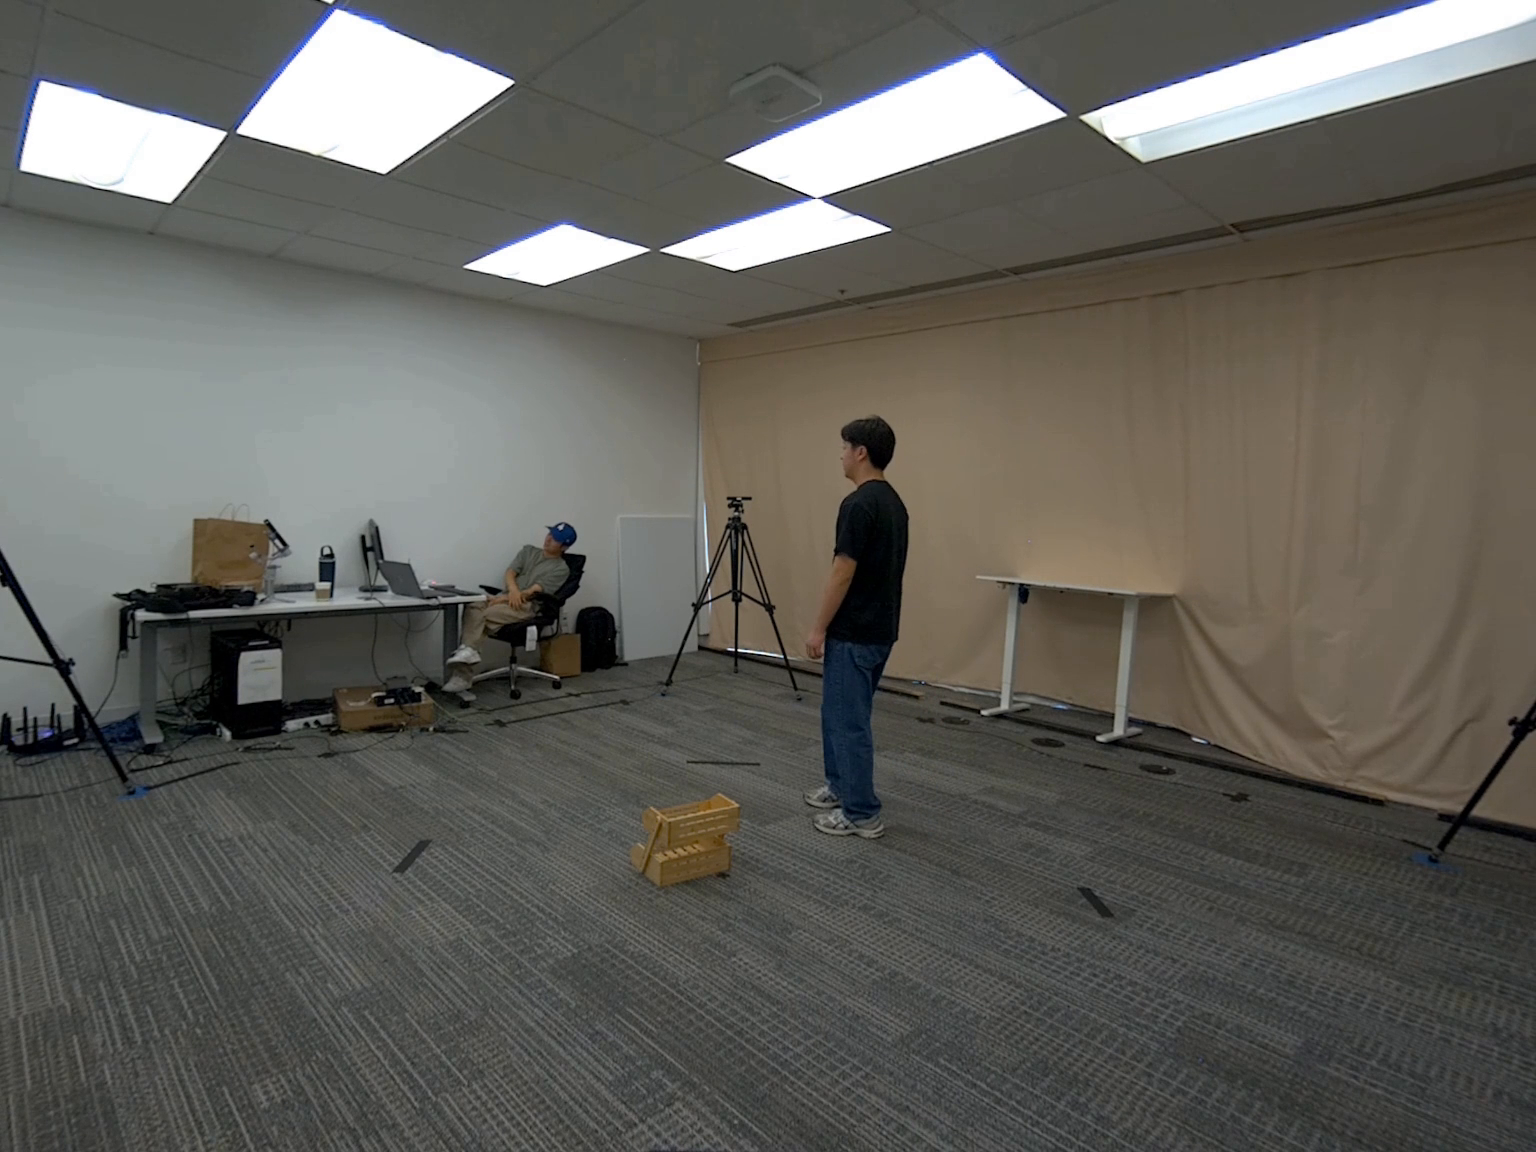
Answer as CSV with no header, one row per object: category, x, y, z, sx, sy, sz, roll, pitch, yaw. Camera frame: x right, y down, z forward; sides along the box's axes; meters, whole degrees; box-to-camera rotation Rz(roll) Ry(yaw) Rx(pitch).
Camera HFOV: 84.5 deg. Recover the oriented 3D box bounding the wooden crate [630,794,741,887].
wooden crate,-0.320,0.965,3.154,0.317,0.272,0.309,-2,6,-34
